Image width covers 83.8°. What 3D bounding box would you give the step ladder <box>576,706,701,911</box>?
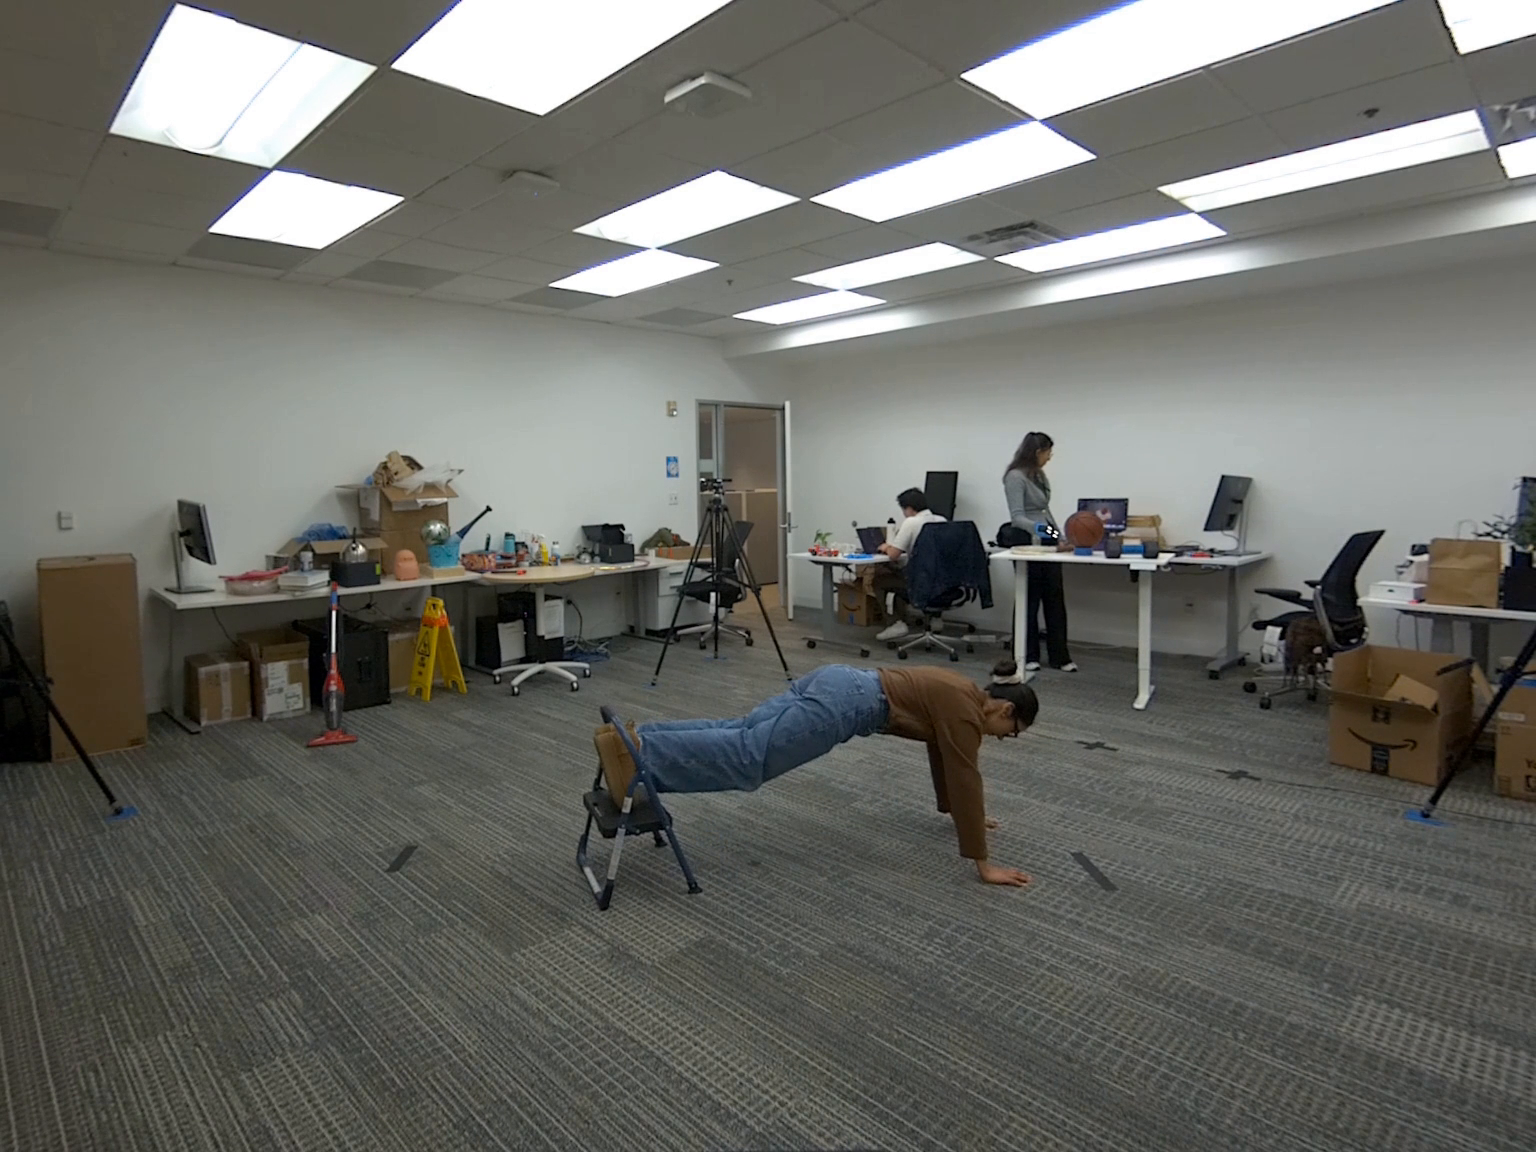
[{"bbox_3d":[-0.469,0.762,3.011,0.342,0.604,0.441,-3,5,-24],"label":"step ladder"}]
